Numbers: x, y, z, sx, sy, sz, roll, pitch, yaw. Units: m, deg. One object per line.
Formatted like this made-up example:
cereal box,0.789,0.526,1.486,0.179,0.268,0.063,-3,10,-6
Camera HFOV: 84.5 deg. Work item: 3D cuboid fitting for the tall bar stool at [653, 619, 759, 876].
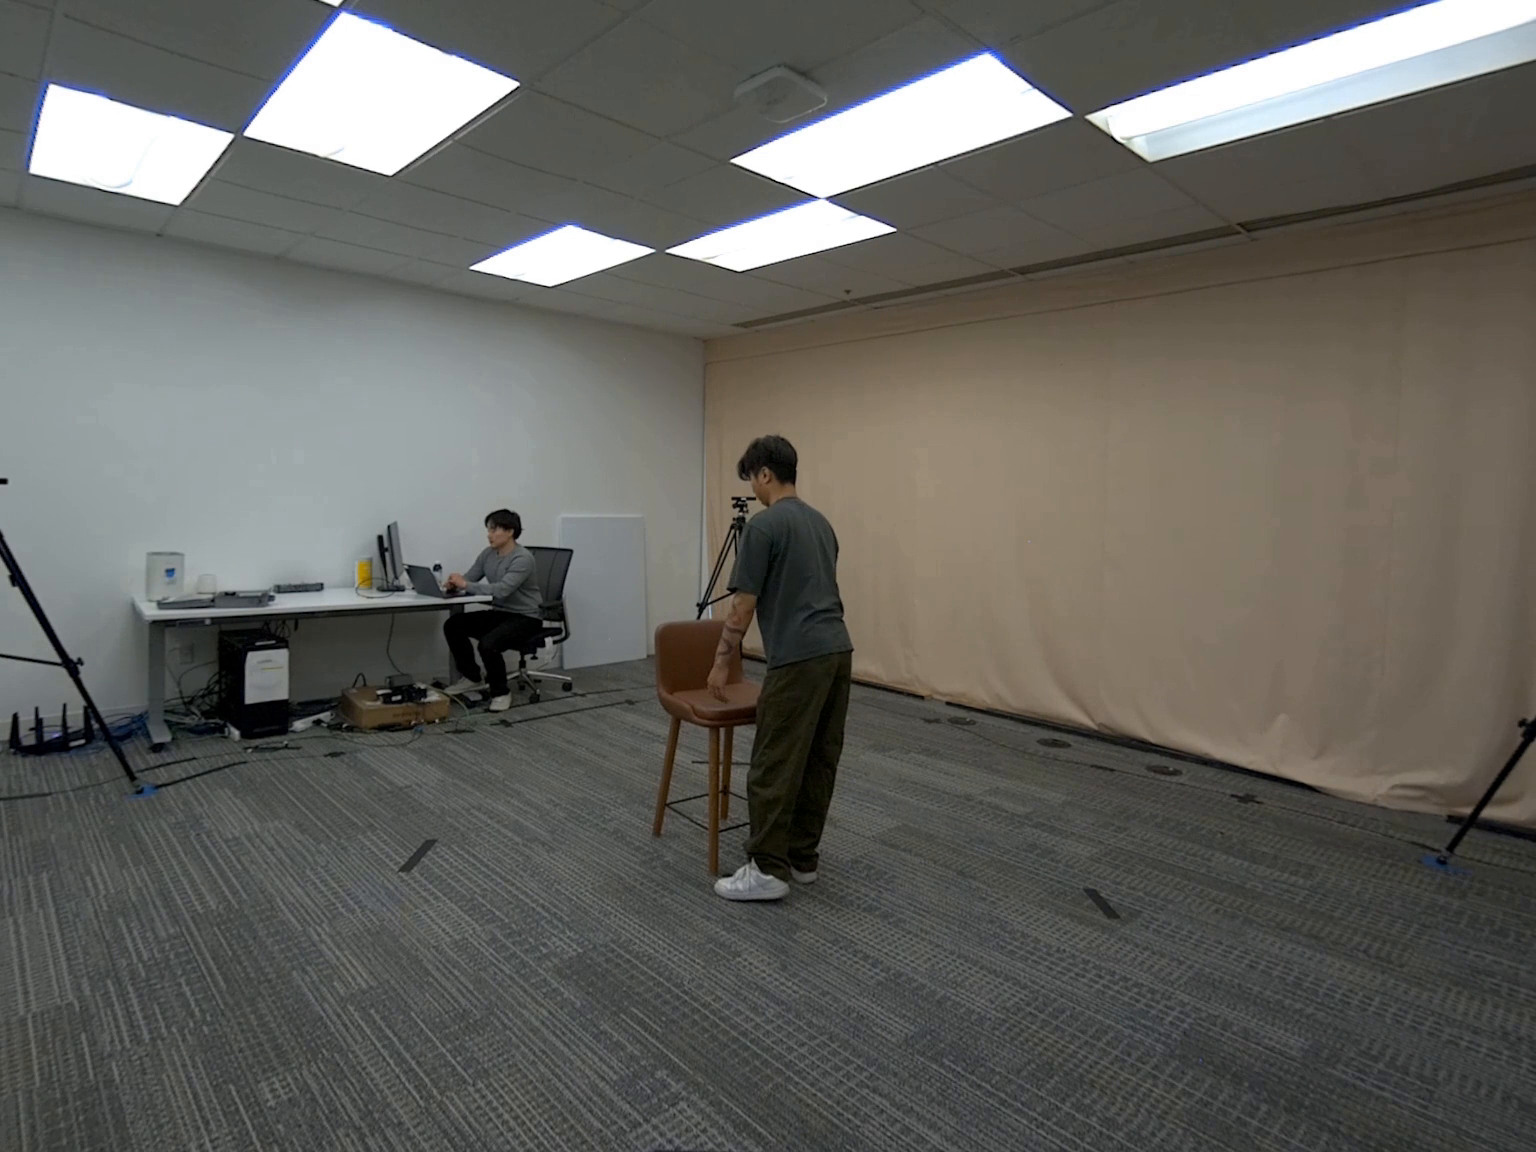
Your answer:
tall bar stool,-0.189,0.642,3.372,0.446,0.888,0.479,-2,3,-38
